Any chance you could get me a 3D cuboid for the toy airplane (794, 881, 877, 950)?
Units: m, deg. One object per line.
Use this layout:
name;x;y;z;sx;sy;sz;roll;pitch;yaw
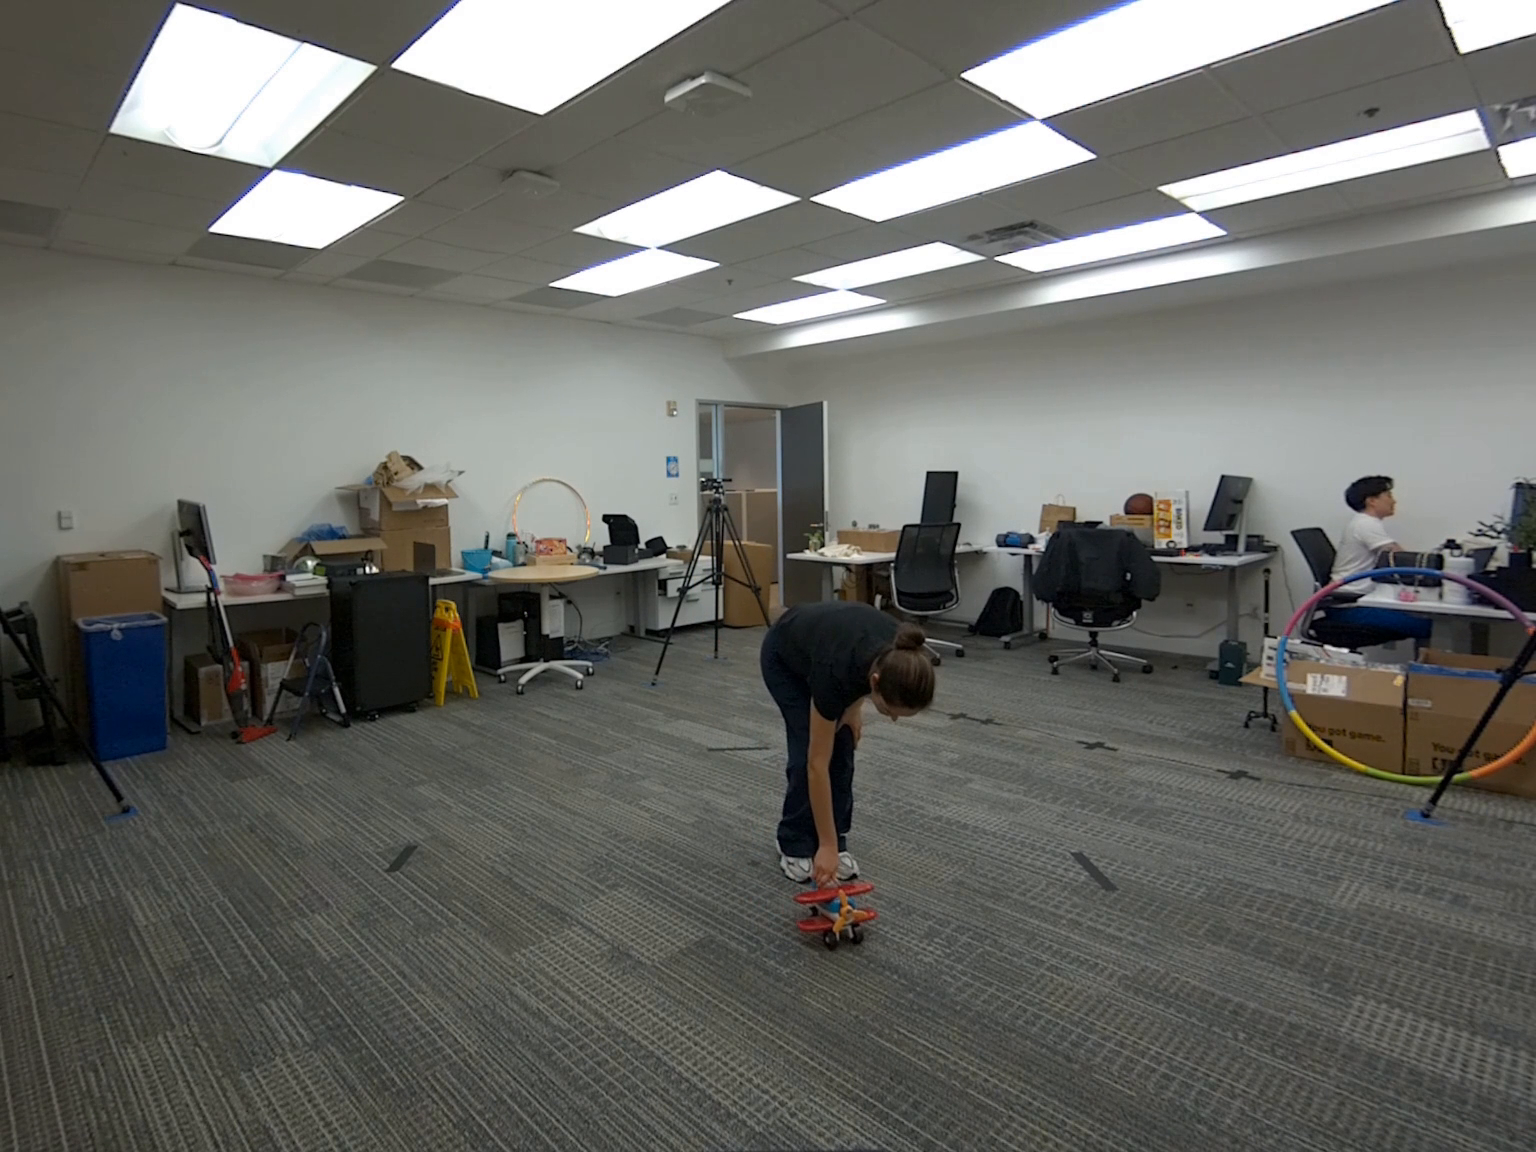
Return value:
toy airplane;0.180;1.025;2.642;0.267;0.156;0.244;5;8;44
